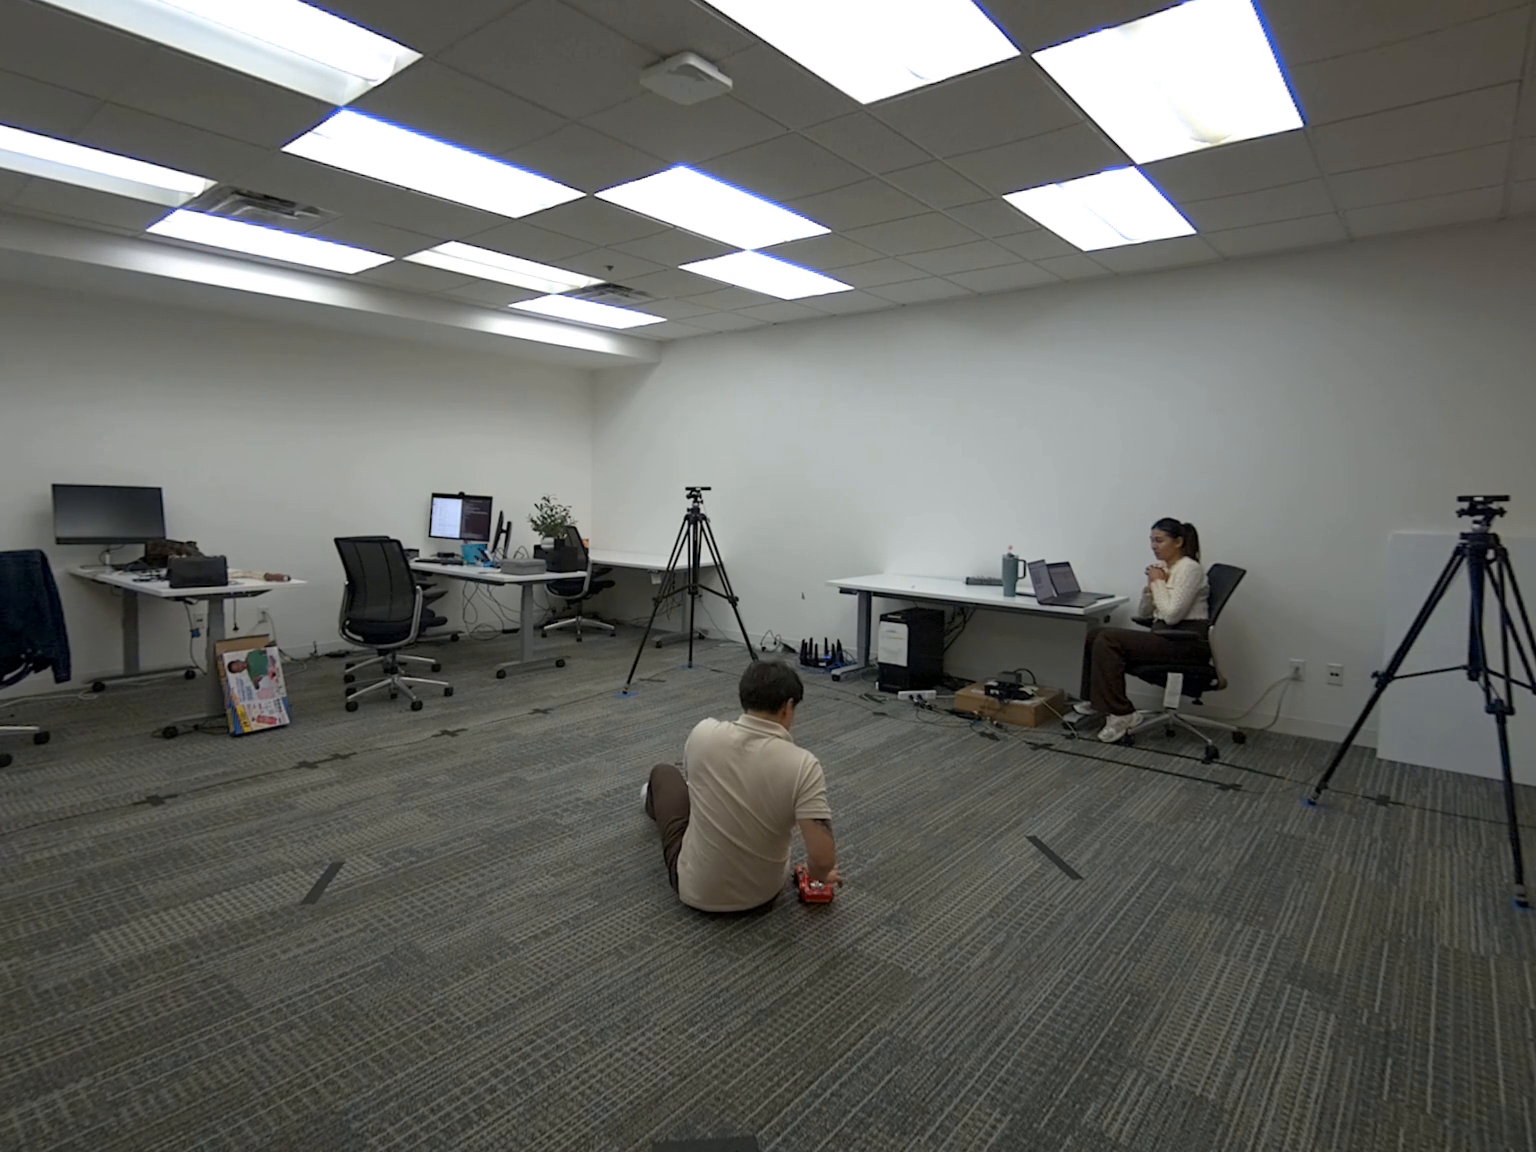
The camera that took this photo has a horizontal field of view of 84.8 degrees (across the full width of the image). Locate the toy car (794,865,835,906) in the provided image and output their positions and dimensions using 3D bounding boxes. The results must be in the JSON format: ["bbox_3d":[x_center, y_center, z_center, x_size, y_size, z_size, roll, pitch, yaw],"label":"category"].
[{"bbox_3d":[0.149,1.066,2.922,0.130,0.084,0.254,2,-5,-5],"label":"toy car"}]
